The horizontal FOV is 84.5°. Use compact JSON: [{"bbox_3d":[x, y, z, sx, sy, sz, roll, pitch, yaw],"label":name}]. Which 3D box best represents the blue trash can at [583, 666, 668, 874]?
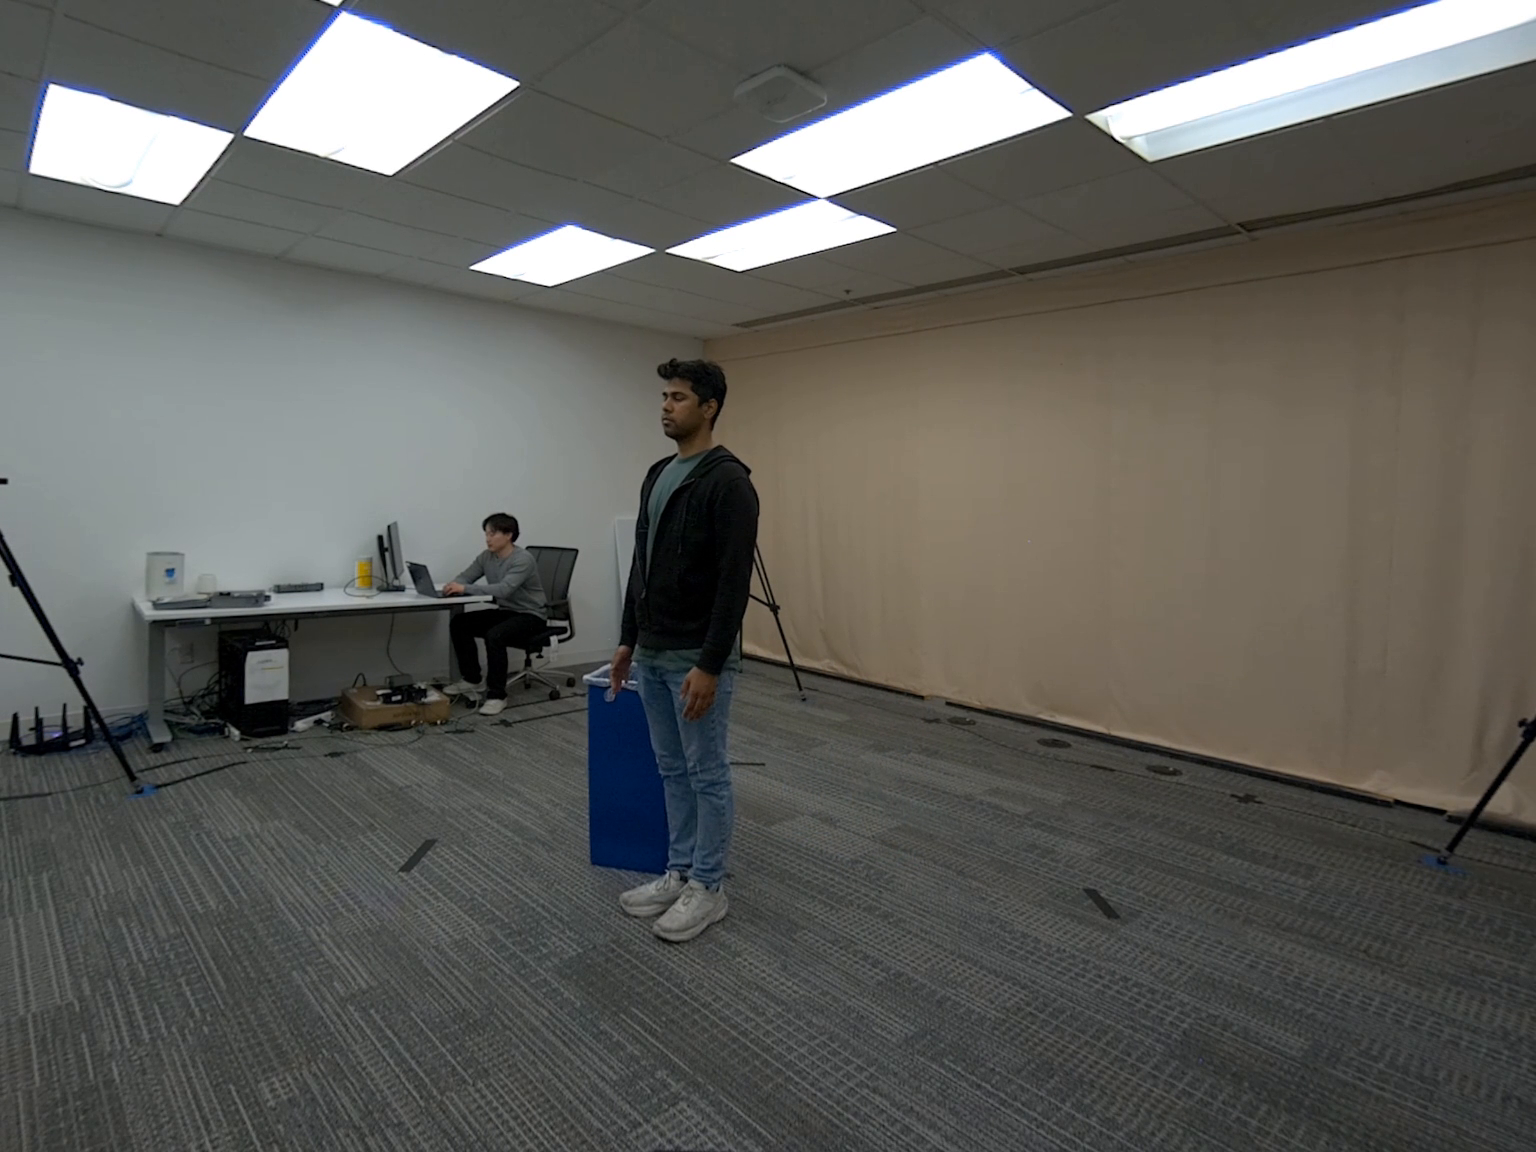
[{"bbox_3d":[-0.491,0.727,3.264,0.378,0.712,0.374,1,3,14],"label":"blue trash can"}]
